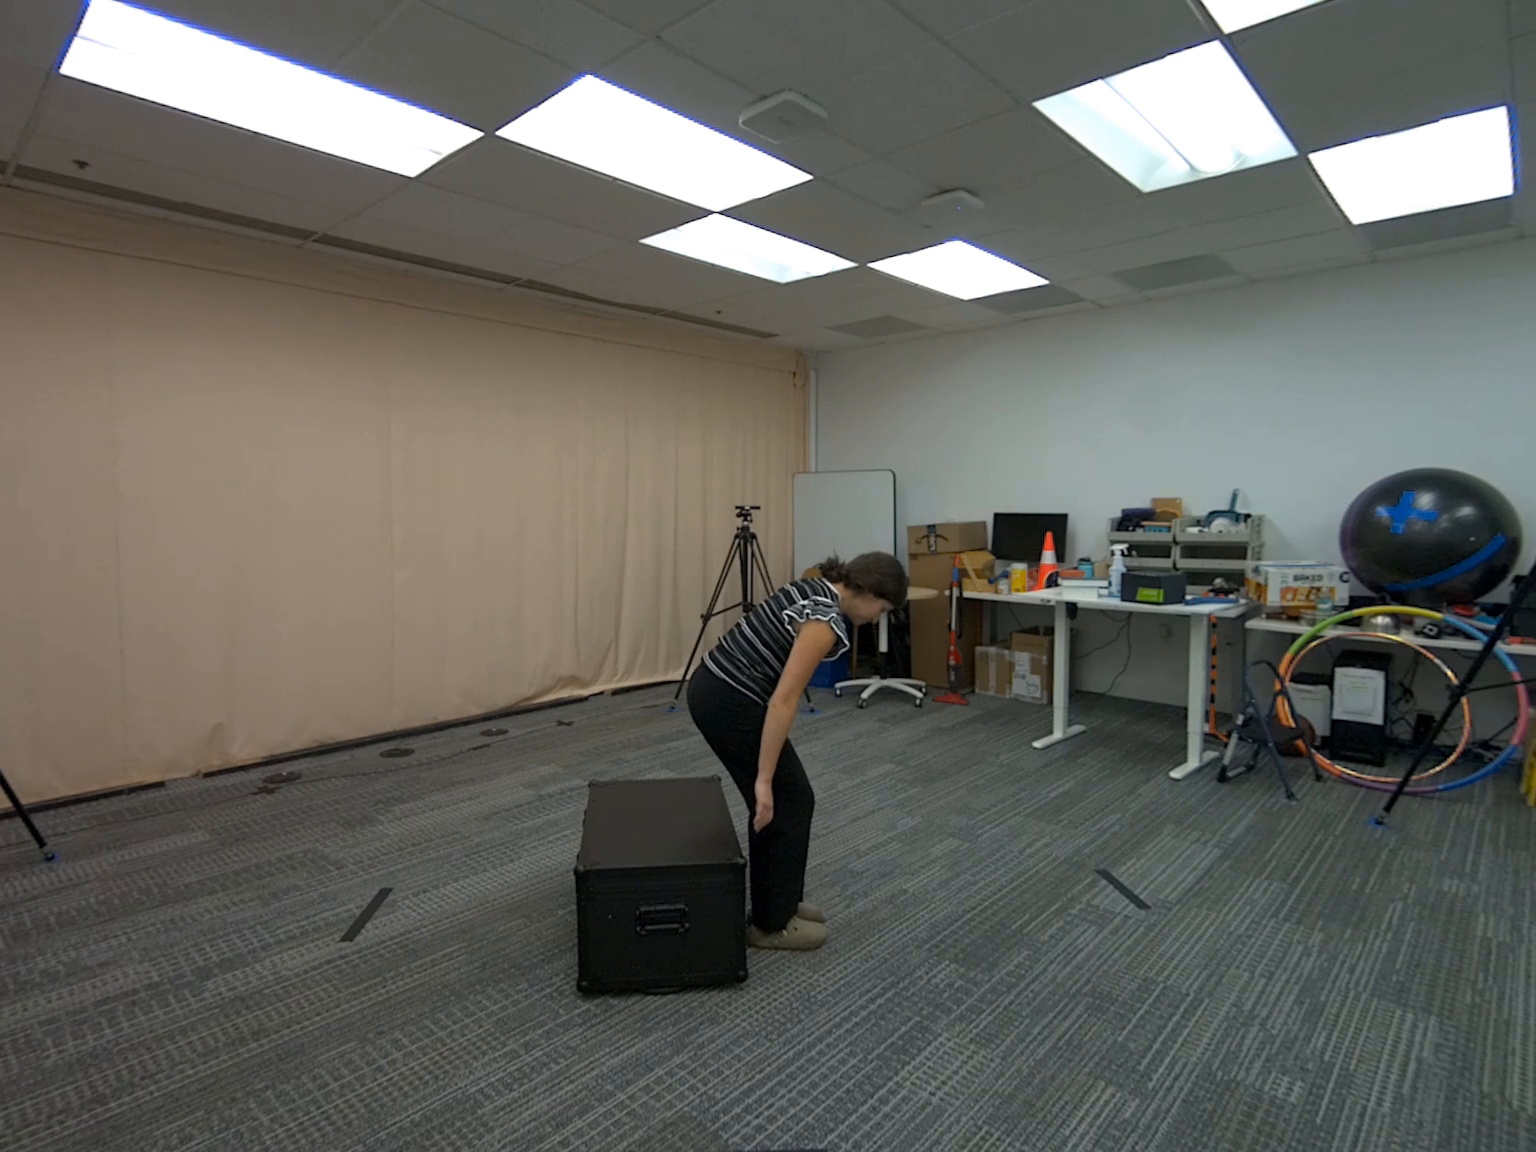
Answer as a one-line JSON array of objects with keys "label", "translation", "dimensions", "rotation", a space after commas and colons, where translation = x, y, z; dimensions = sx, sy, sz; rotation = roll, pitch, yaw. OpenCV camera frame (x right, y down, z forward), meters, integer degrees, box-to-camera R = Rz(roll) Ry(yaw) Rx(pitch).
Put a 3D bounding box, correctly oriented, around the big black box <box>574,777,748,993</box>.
[{"label": "big black box", "translation": [-0.361, 0.968, 2.803], "dimensions": [0.517, 0.395, 0.871], "rotation": [0, 5, -9]}]
